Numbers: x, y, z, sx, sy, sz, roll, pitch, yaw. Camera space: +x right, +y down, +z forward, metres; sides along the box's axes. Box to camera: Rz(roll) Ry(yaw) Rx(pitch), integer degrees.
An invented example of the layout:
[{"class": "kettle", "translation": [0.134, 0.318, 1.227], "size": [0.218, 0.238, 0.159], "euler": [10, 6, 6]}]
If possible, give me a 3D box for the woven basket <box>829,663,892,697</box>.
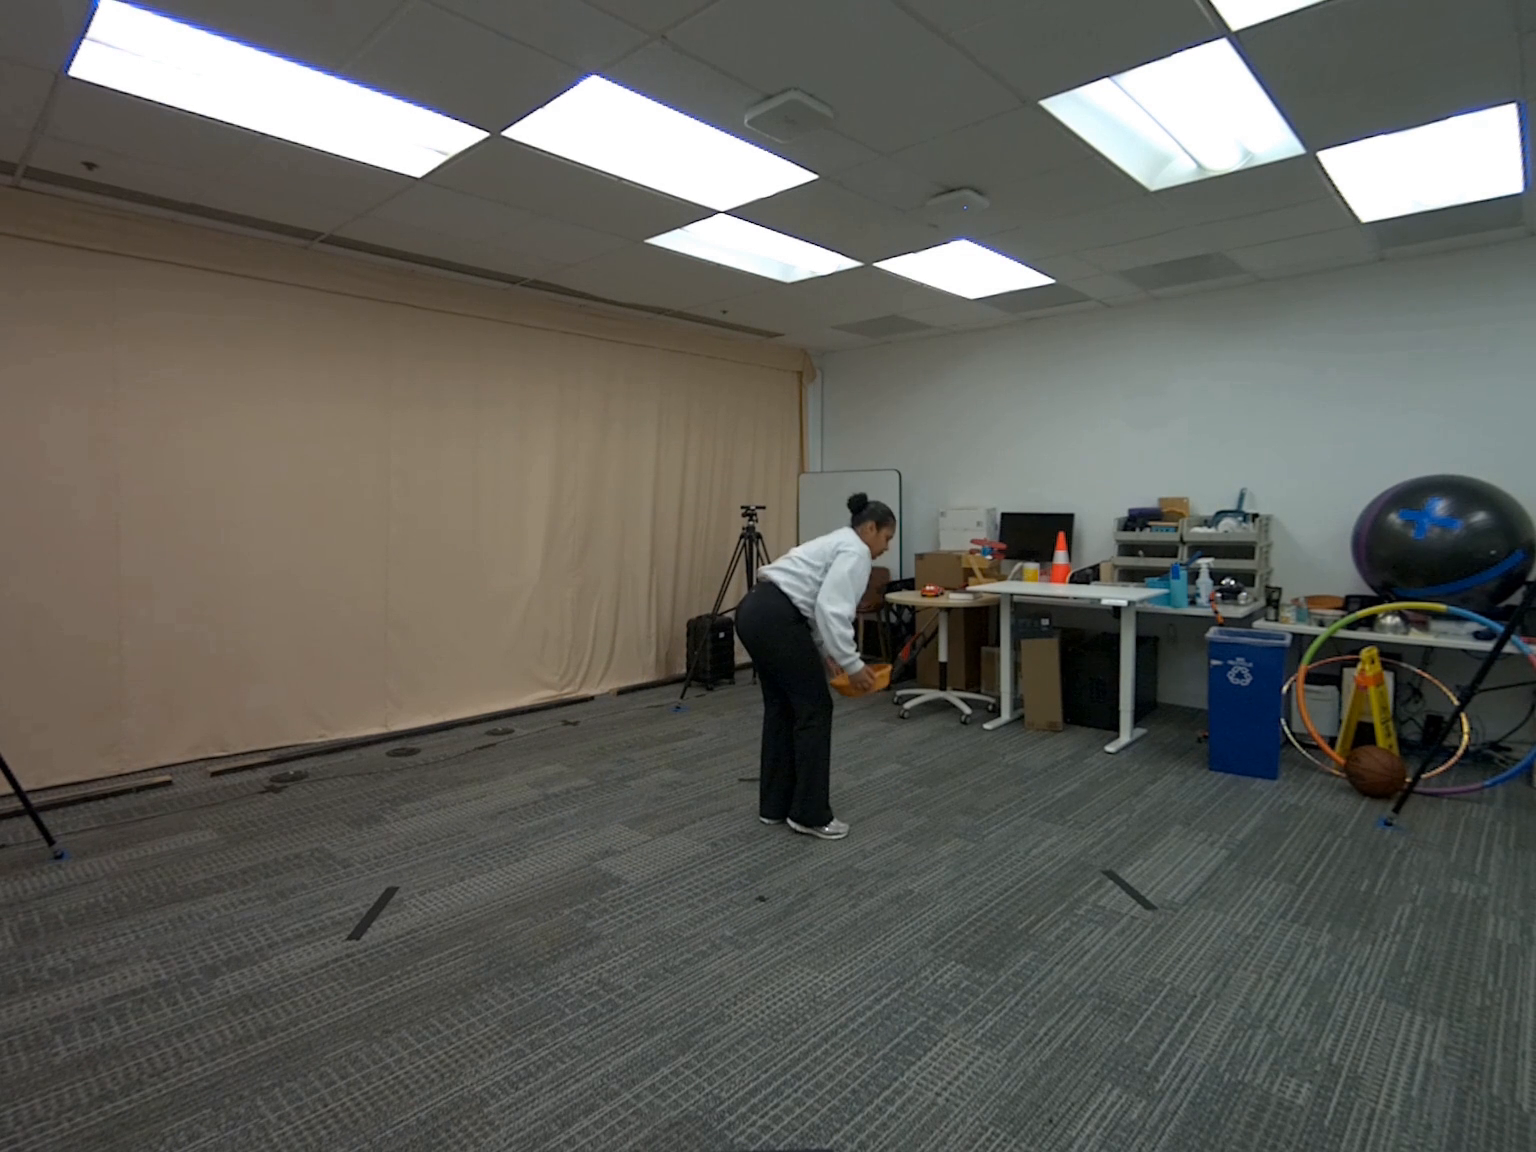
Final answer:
[{"class": "woven basket", "translation": [0.399, 0.451, 3.557], "size": [0.251, 0.073, 0.352], "euler": [-18, -1, -8]}]
